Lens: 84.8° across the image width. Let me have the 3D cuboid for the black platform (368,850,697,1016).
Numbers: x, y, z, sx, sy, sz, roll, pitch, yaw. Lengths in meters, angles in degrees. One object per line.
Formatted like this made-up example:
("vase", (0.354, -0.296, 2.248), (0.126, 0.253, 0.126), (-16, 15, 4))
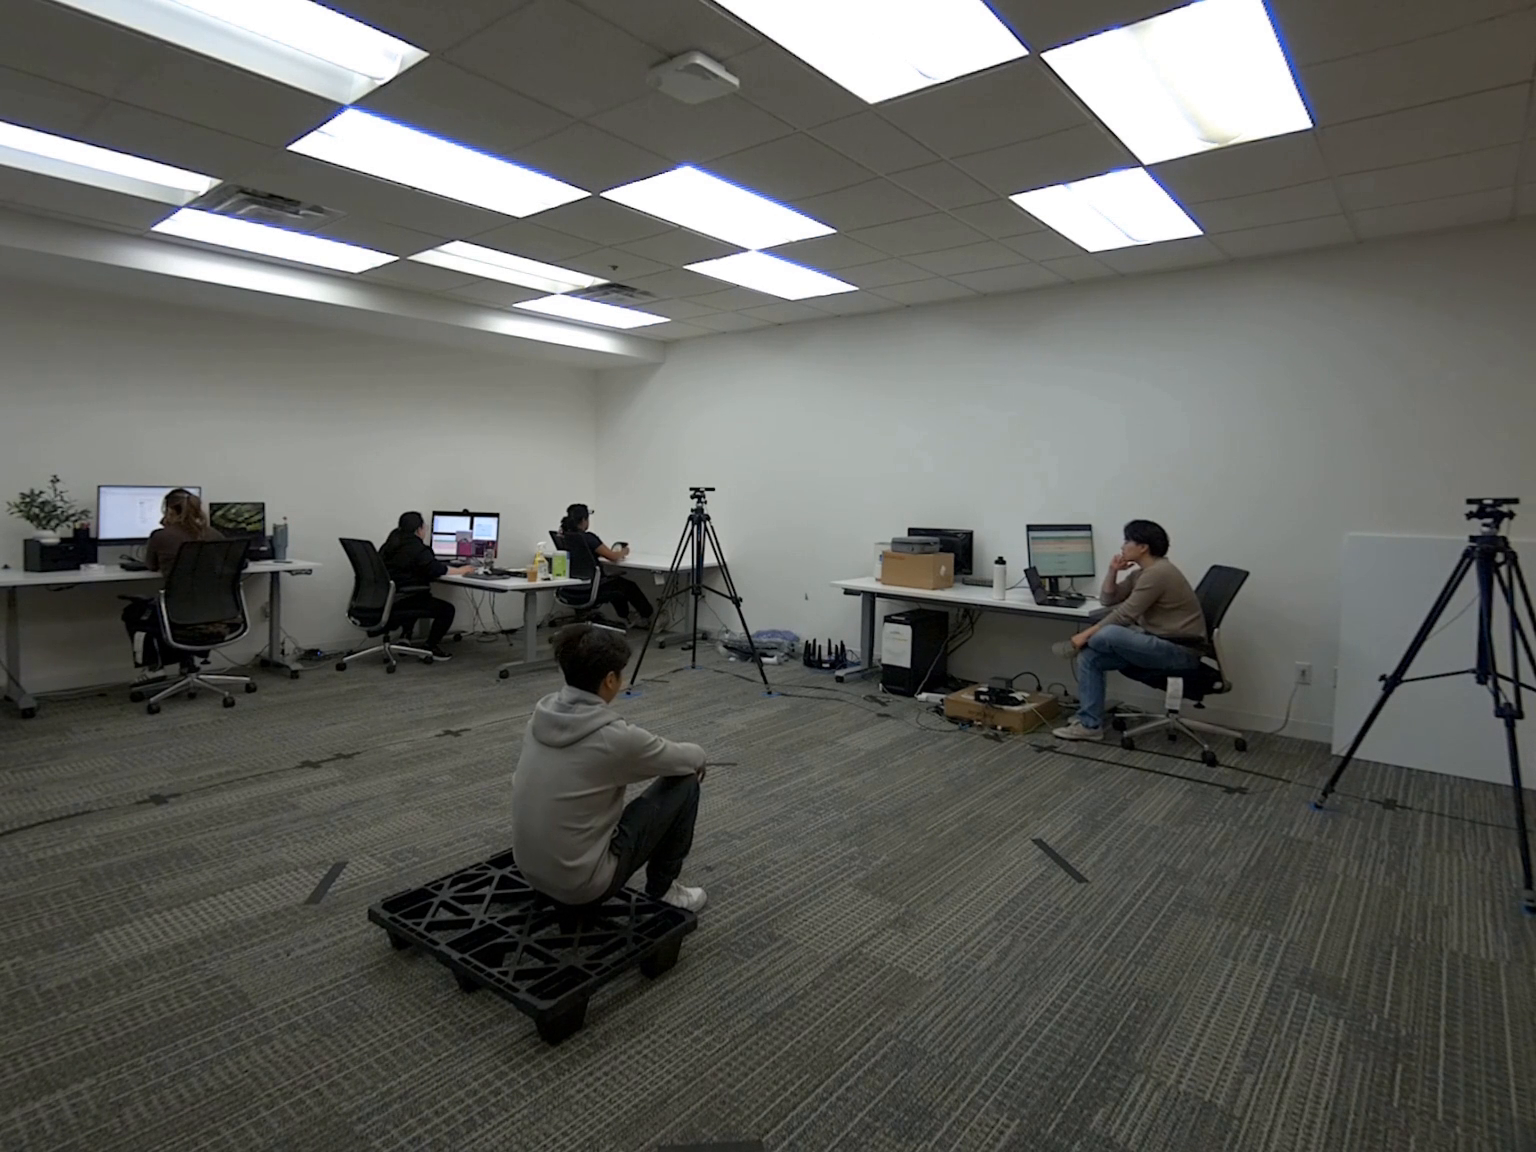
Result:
("black platform", (-0.705, 1.051, 2.518), (0.832, 0.143, 0.588), (5, 7, 36))
